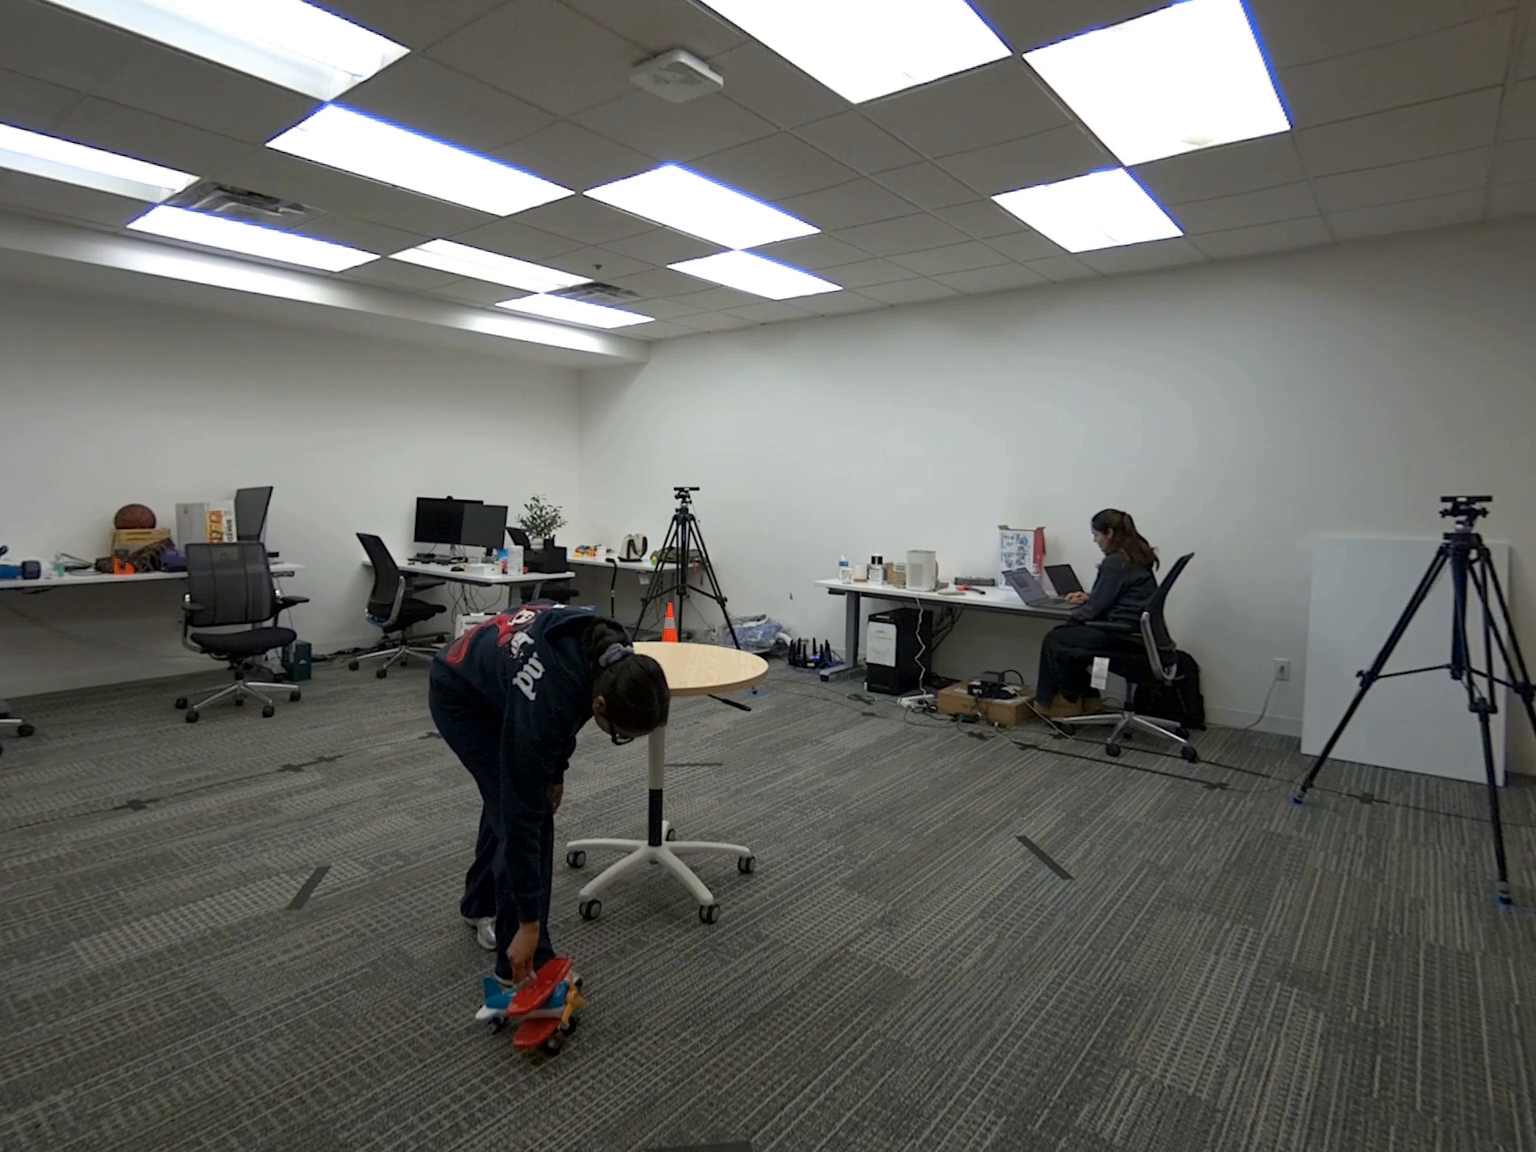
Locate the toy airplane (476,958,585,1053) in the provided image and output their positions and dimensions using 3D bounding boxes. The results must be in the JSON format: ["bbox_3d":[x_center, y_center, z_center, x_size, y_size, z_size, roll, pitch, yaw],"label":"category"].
[{"bbox_3d":[-0.611,1.087,2.130,0.256,0.156,0.255,1,5,-14],"label":"toy airplane"}]
